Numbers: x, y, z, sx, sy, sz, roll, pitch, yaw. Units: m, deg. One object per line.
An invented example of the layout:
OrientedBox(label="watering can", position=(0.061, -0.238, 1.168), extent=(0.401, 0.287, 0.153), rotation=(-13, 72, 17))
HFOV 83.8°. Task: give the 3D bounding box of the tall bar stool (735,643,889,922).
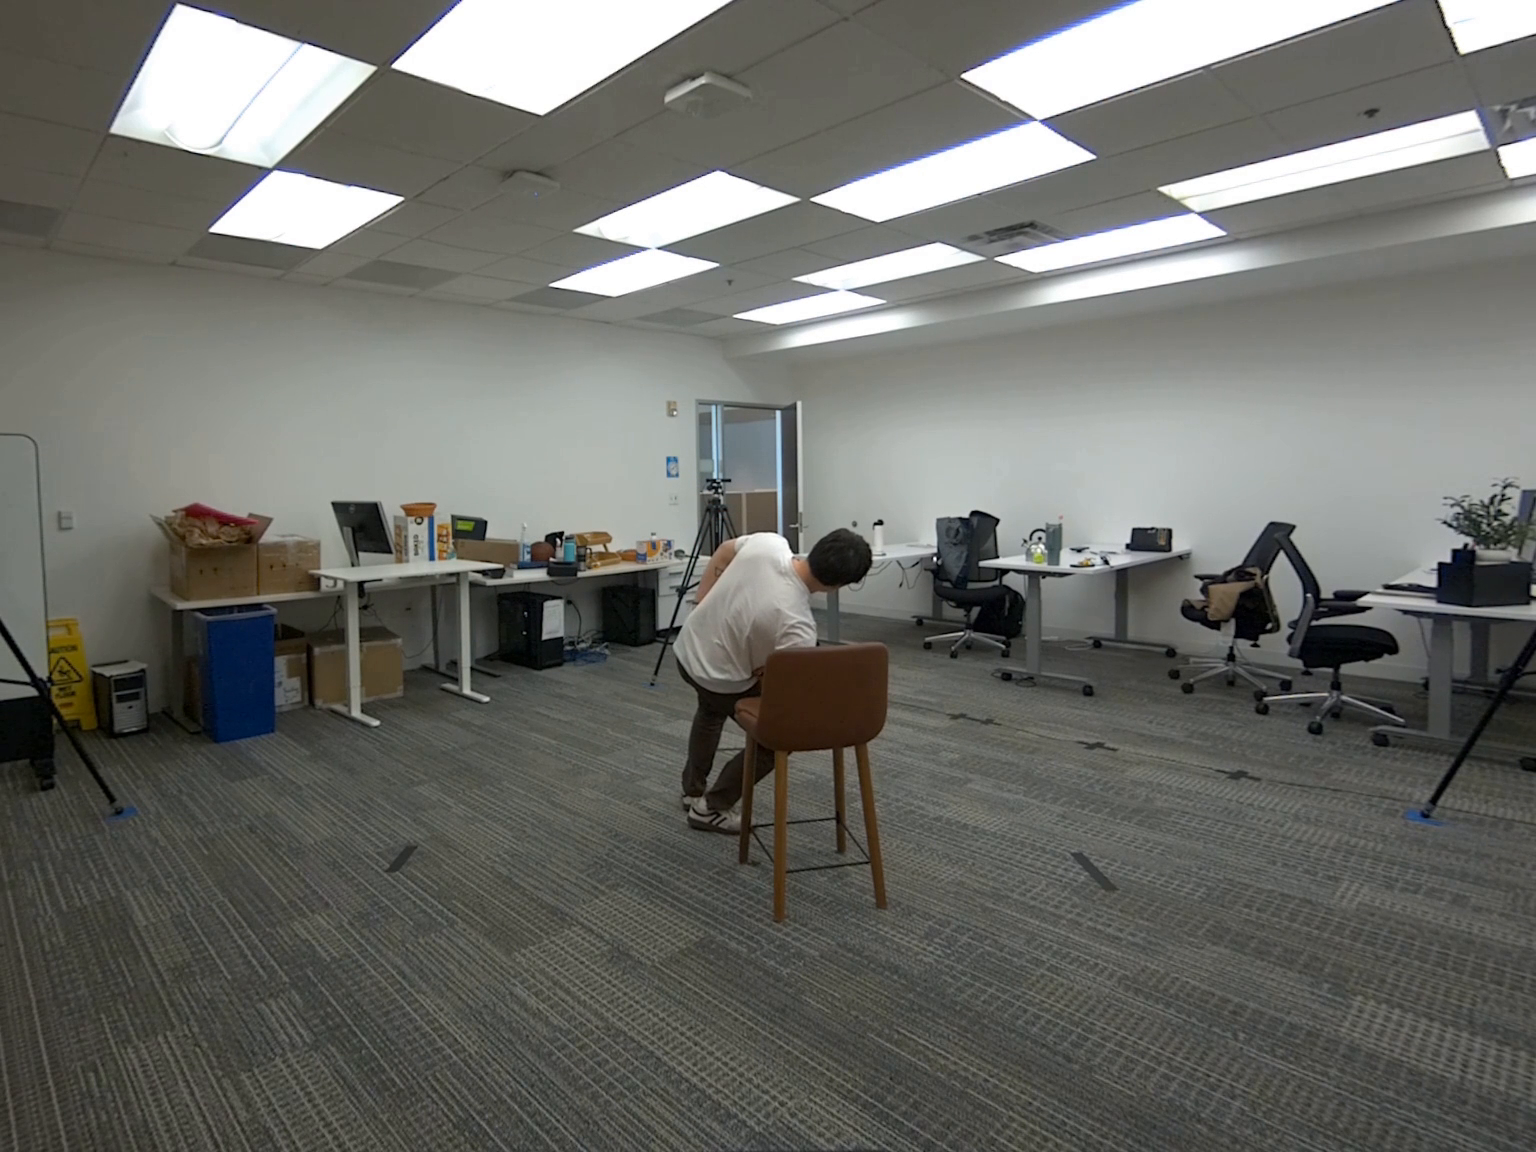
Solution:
OrientedBox(label="tall bar stool", position=(0.145, 0.627, 2.915), extent=(0.451, 0.886, 0.476), rotation=(-2, 5, -14))
